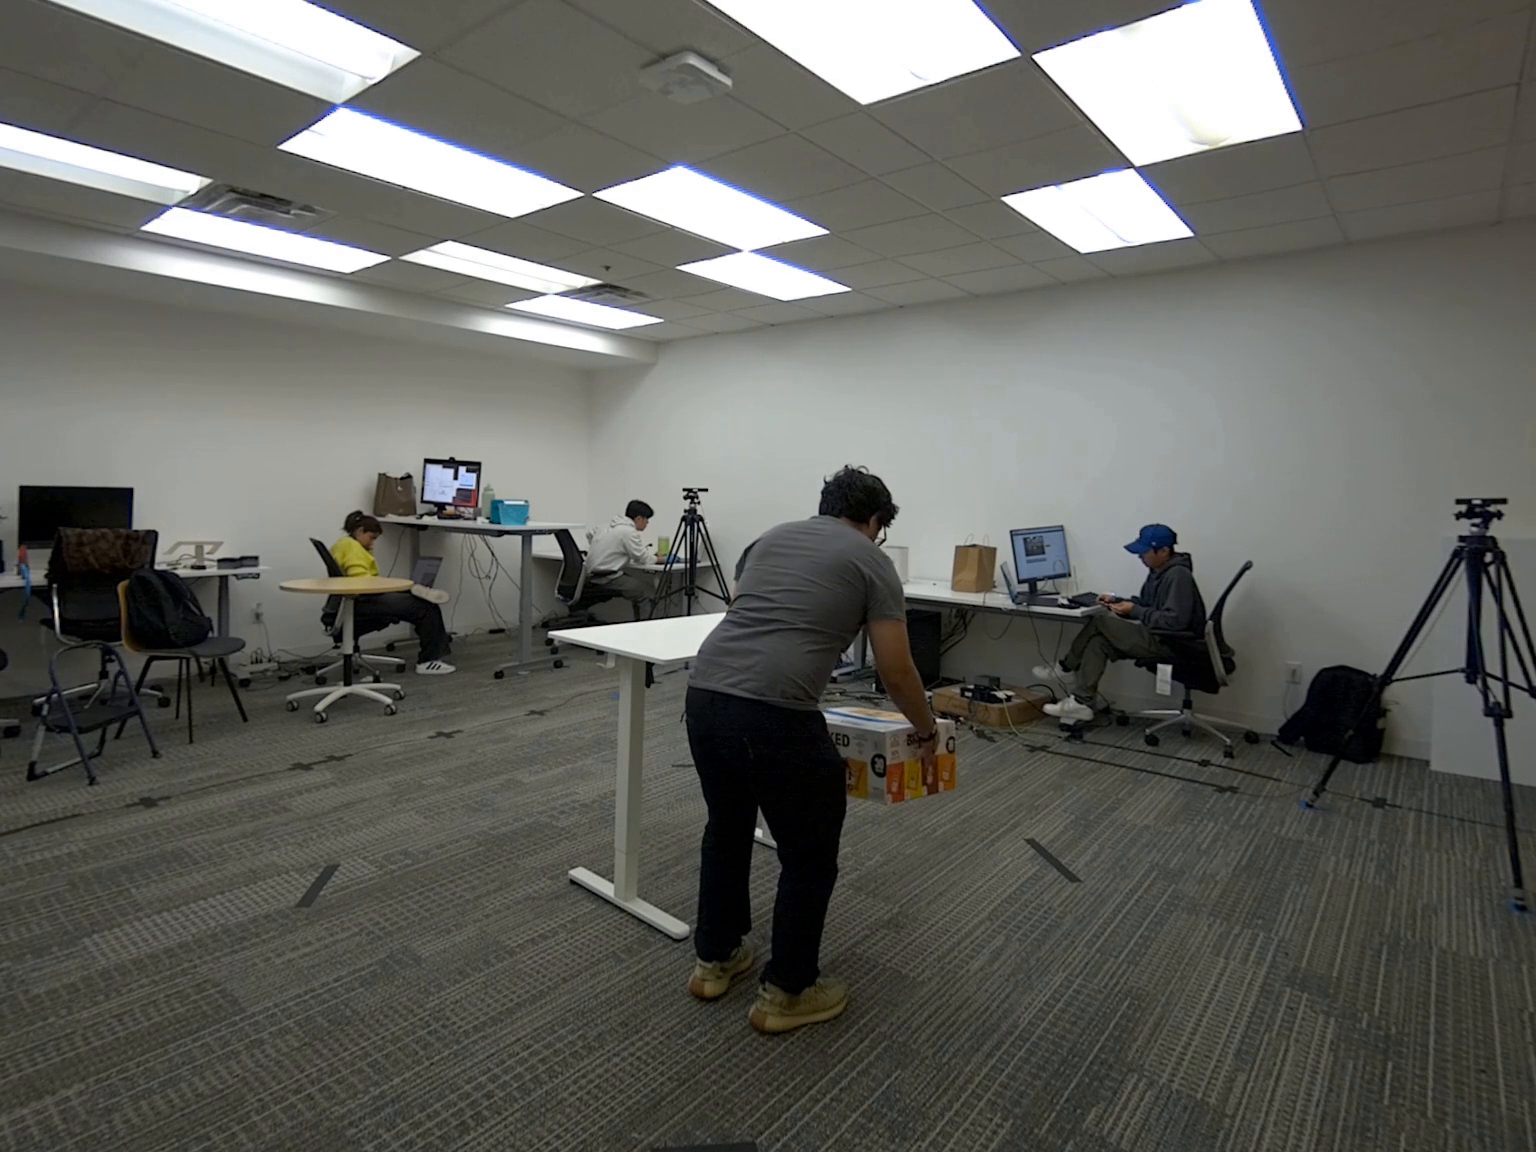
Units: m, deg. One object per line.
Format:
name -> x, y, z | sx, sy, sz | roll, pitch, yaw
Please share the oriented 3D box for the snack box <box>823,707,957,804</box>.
snack box -> 0.299, 0.534, 2.613 | 0.329, 0.206, 0.418 | 2, -2, -43
